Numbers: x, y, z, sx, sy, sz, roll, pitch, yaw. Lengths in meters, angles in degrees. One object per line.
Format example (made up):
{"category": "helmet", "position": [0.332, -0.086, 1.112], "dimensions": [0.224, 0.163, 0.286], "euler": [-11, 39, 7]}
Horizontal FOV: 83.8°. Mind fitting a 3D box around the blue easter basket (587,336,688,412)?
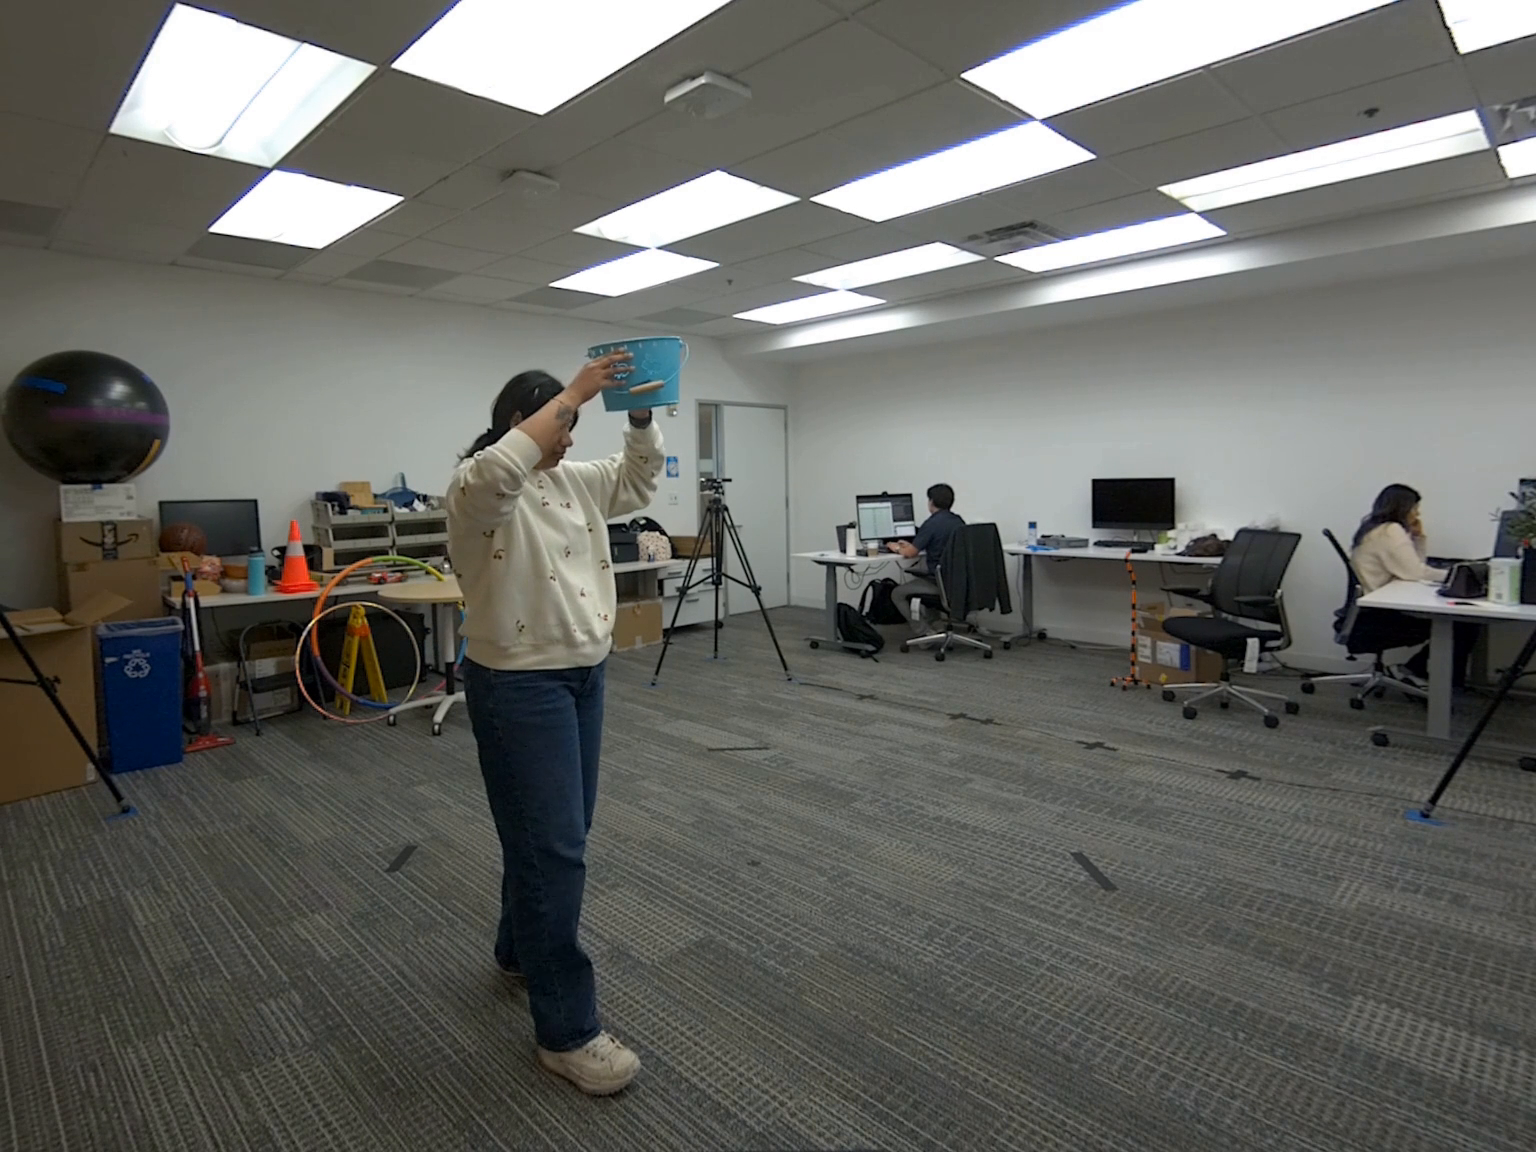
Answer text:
{"category": "blue easter basket", "position": [-0.317, -0.491, 2.050], "dimensions": [0.243, 0.155, 0.245], "euler": [-5, 9, -1]}
